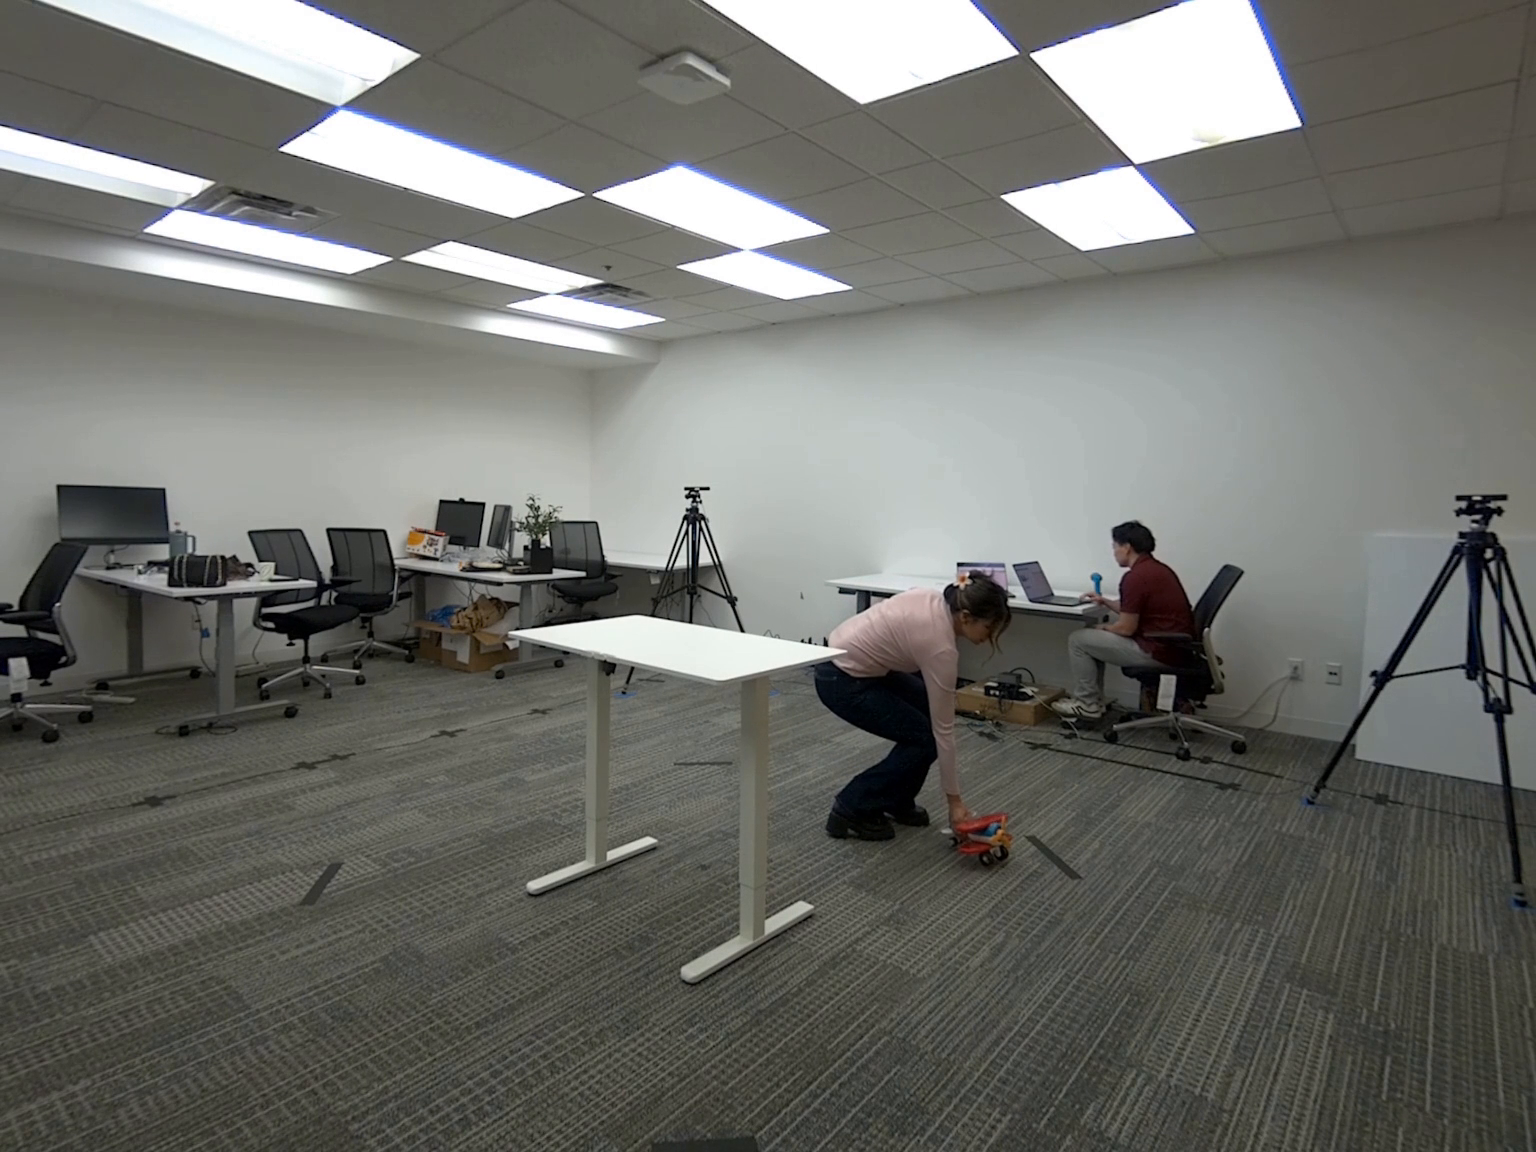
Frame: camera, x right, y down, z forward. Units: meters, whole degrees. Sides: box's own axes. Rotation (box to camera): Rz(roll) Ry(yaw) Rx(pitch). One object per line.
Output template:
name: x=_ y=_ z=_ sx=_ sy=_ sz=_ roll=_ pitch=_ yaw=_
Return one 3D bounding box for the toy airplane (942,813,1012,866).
toy airplane: x=0.785 y=0.983 z=3.233 sx=0.266 sy=0.155 sz=0.246 roll=5 pitch=8 yaw=26
